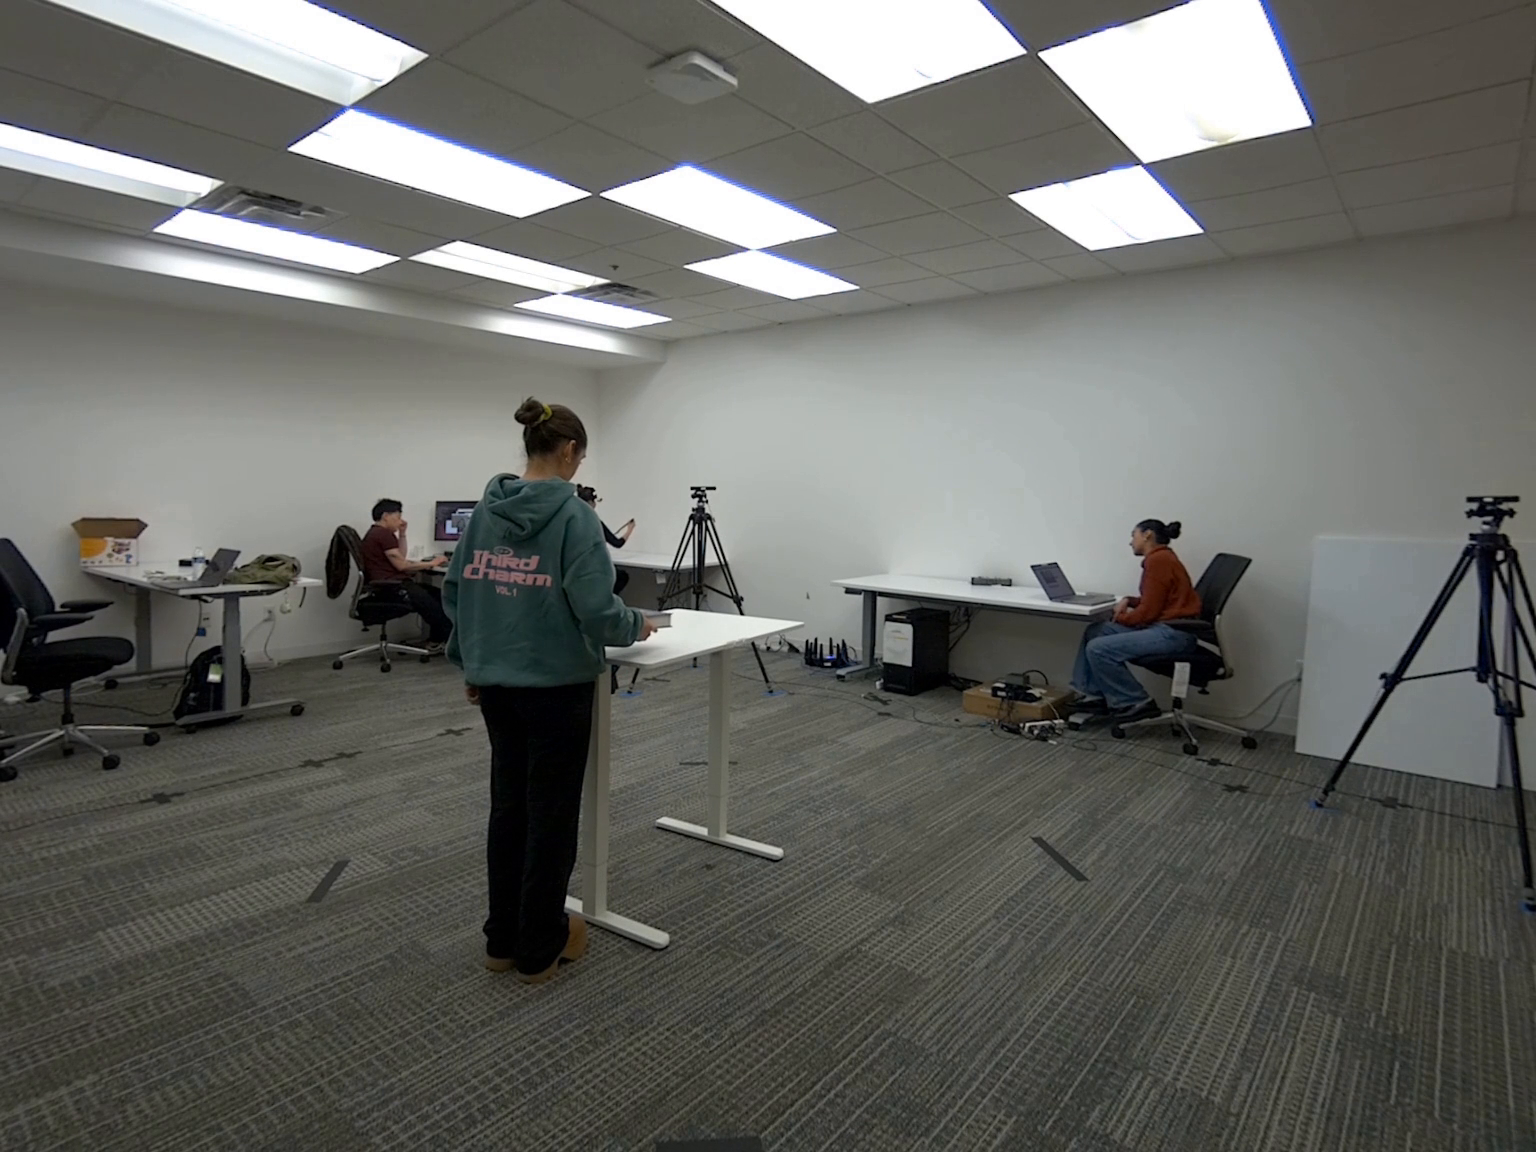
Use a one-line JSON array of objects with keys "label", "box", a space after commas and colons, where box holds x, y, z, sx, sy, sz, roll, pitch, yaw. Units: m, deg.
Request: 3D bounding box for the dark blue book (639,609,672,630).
[{"label": "dark blue book", "box": [-0.442, 0.133, 2.618, 0.169, 0.045, 0.237, 5, 5, 41]}]
